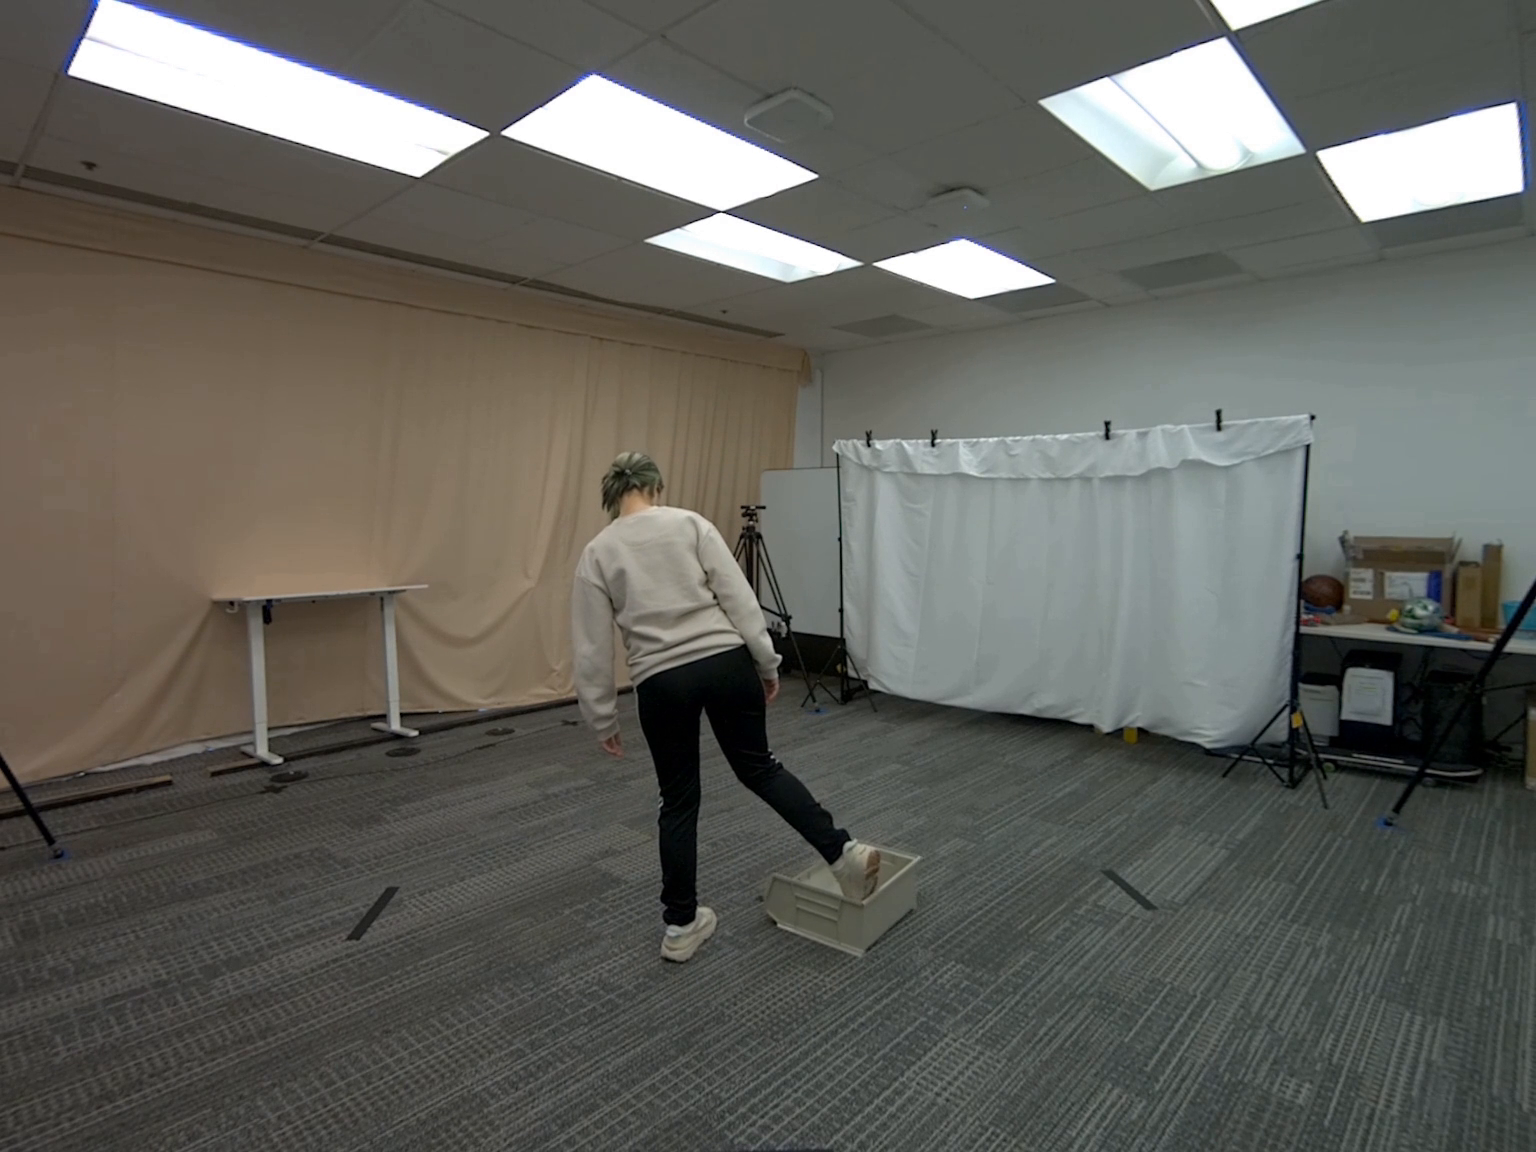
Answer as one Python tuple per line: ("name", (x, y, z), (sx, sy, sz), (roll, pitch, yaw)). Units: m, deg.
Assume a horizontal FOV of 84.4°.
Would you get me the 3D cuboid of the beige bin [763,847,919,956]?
("beige bin", (0.263, 1.061, 2.855), (0.389, 0.188, 0.410), (4, 6, 36))
